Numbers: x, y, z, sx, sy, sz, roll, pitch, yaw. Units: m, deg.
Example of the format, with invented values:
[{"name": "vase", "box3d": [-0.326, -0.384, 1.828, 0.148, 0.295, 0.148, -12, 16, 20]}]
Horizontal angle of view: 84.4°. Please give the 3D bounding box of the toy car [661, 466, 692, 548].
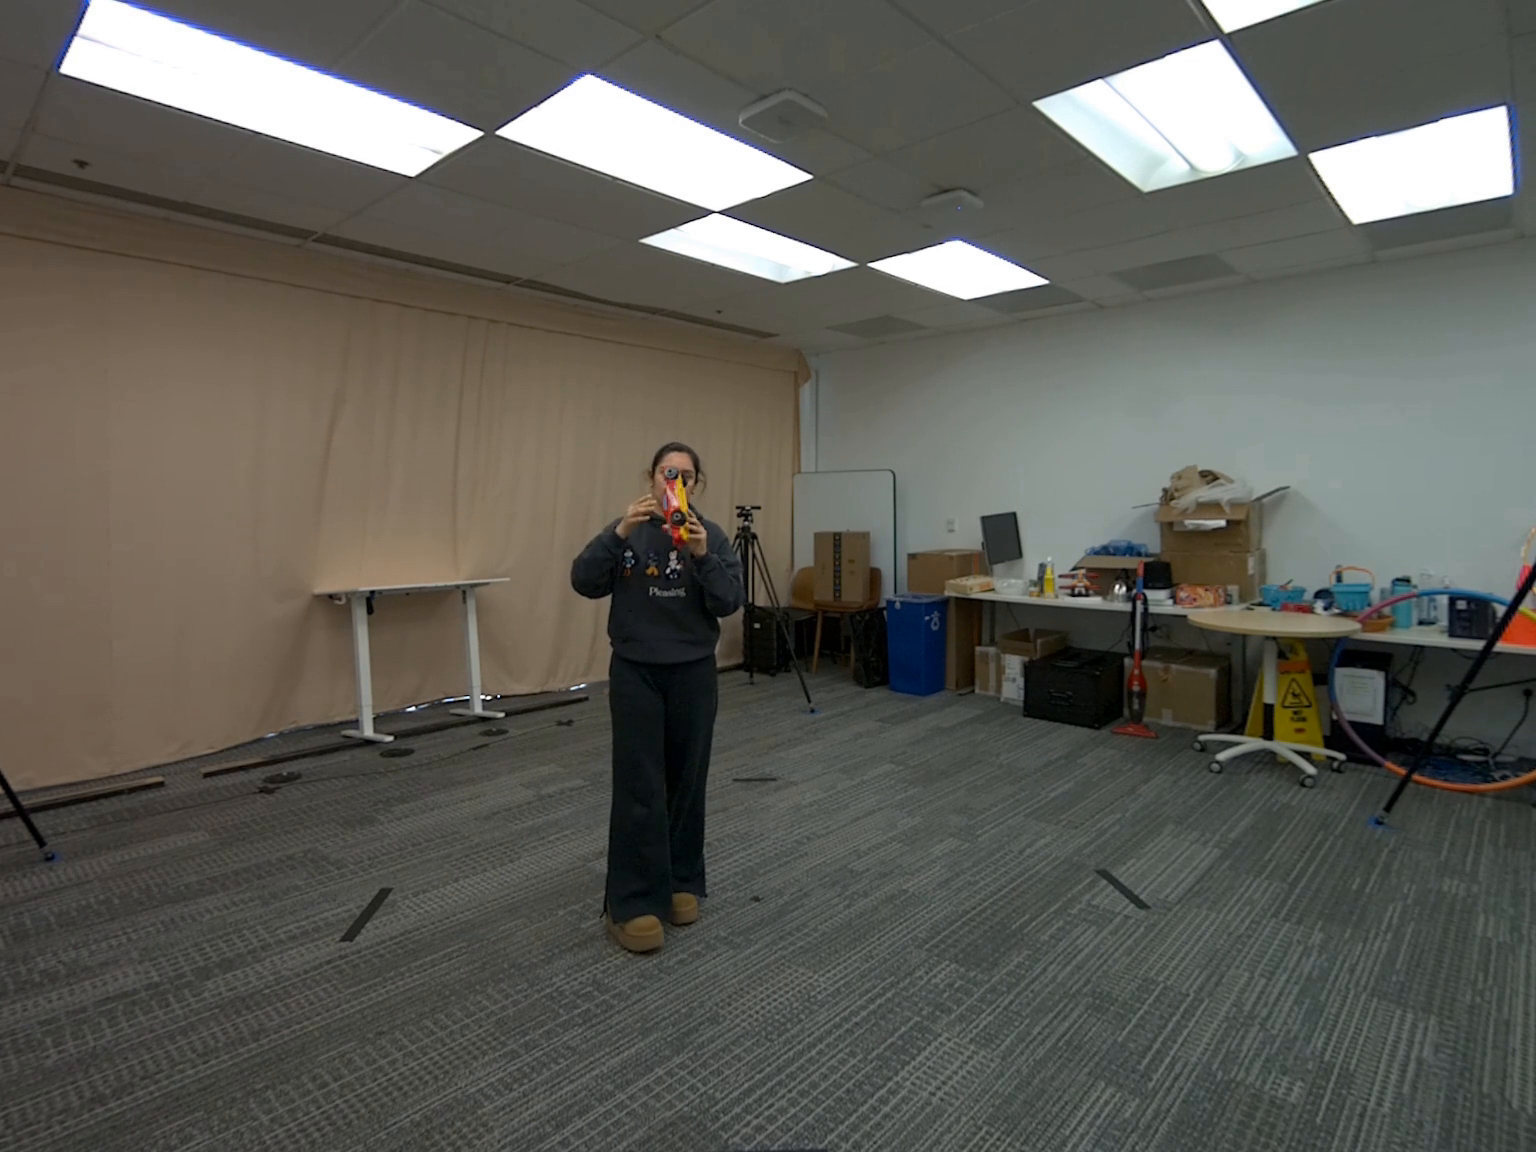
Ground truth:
[{"name": "toy car", "box3d": [-0.282, -0.206, 2.596, 0.084, 0.256, 0.127, -1, -12, 13]}]
